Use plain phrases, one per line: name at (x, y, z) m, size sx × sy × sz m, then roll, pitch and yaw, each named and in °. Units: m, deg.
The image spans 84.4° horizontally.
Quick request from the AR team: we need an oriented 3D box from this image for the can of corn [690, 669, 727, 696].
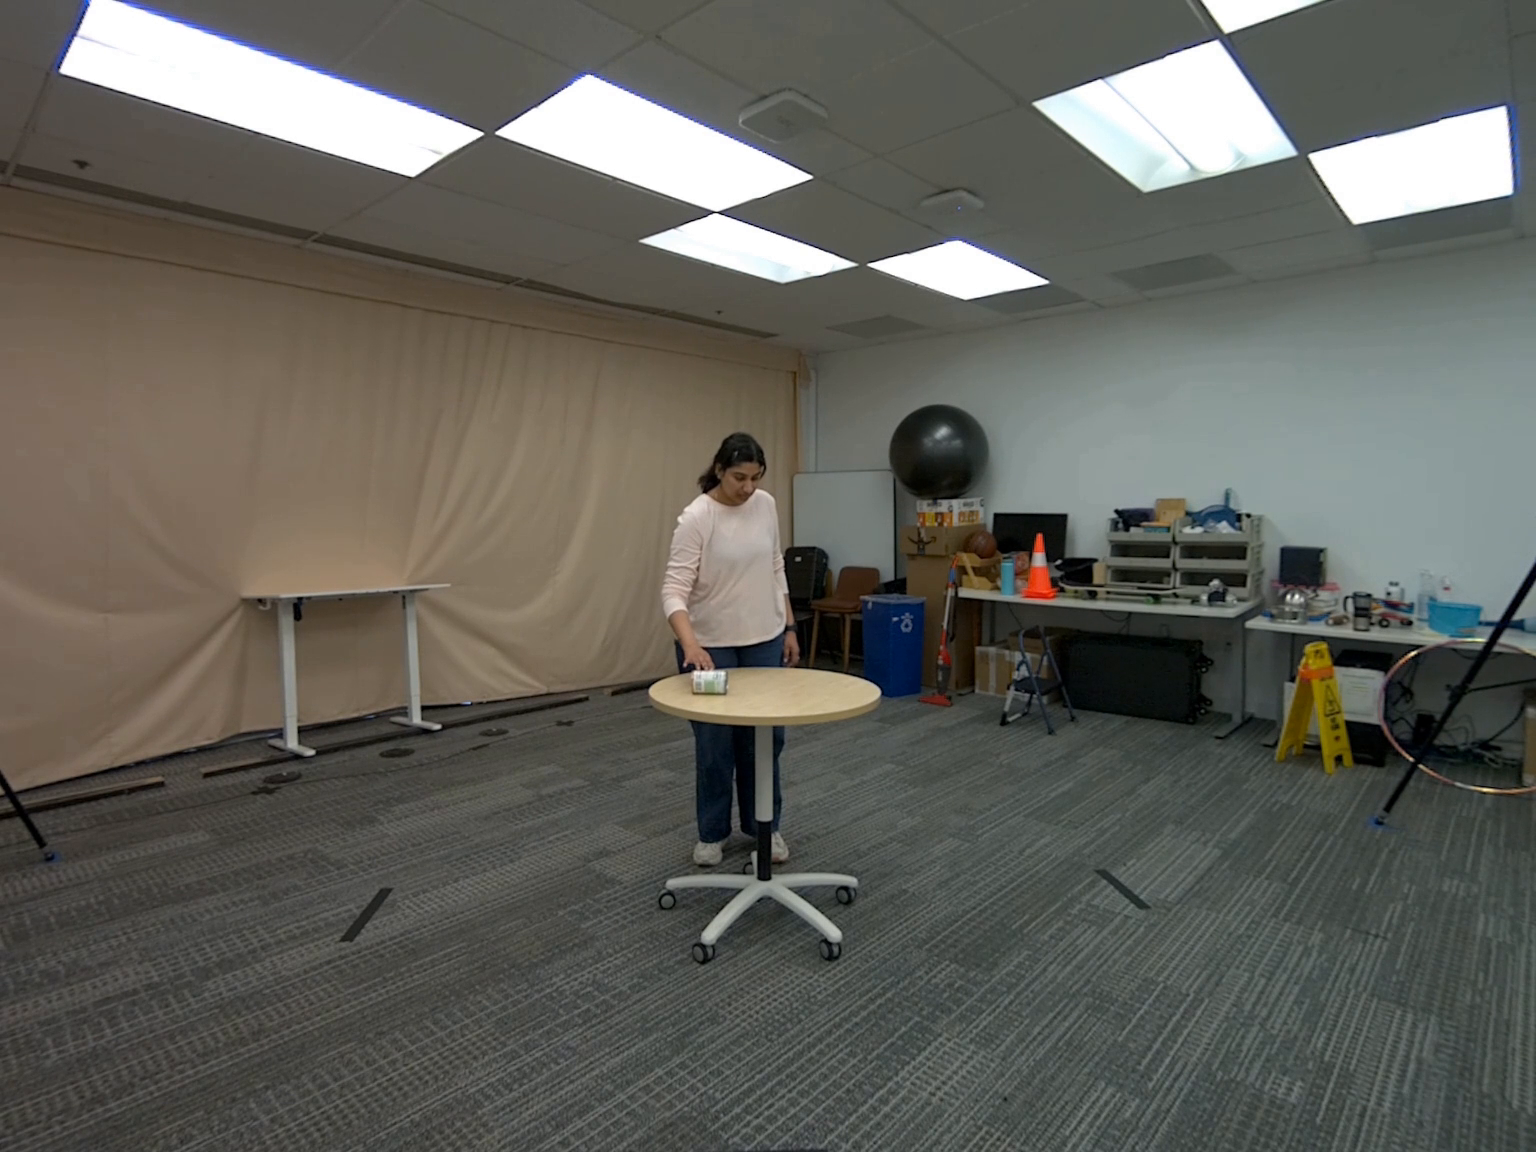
can of corn at (-0.199, 0.340, 2.736) m, size 0.111 × 0.074 × 0.074 m, roll -1°, pitch 4°, yaw 4°
